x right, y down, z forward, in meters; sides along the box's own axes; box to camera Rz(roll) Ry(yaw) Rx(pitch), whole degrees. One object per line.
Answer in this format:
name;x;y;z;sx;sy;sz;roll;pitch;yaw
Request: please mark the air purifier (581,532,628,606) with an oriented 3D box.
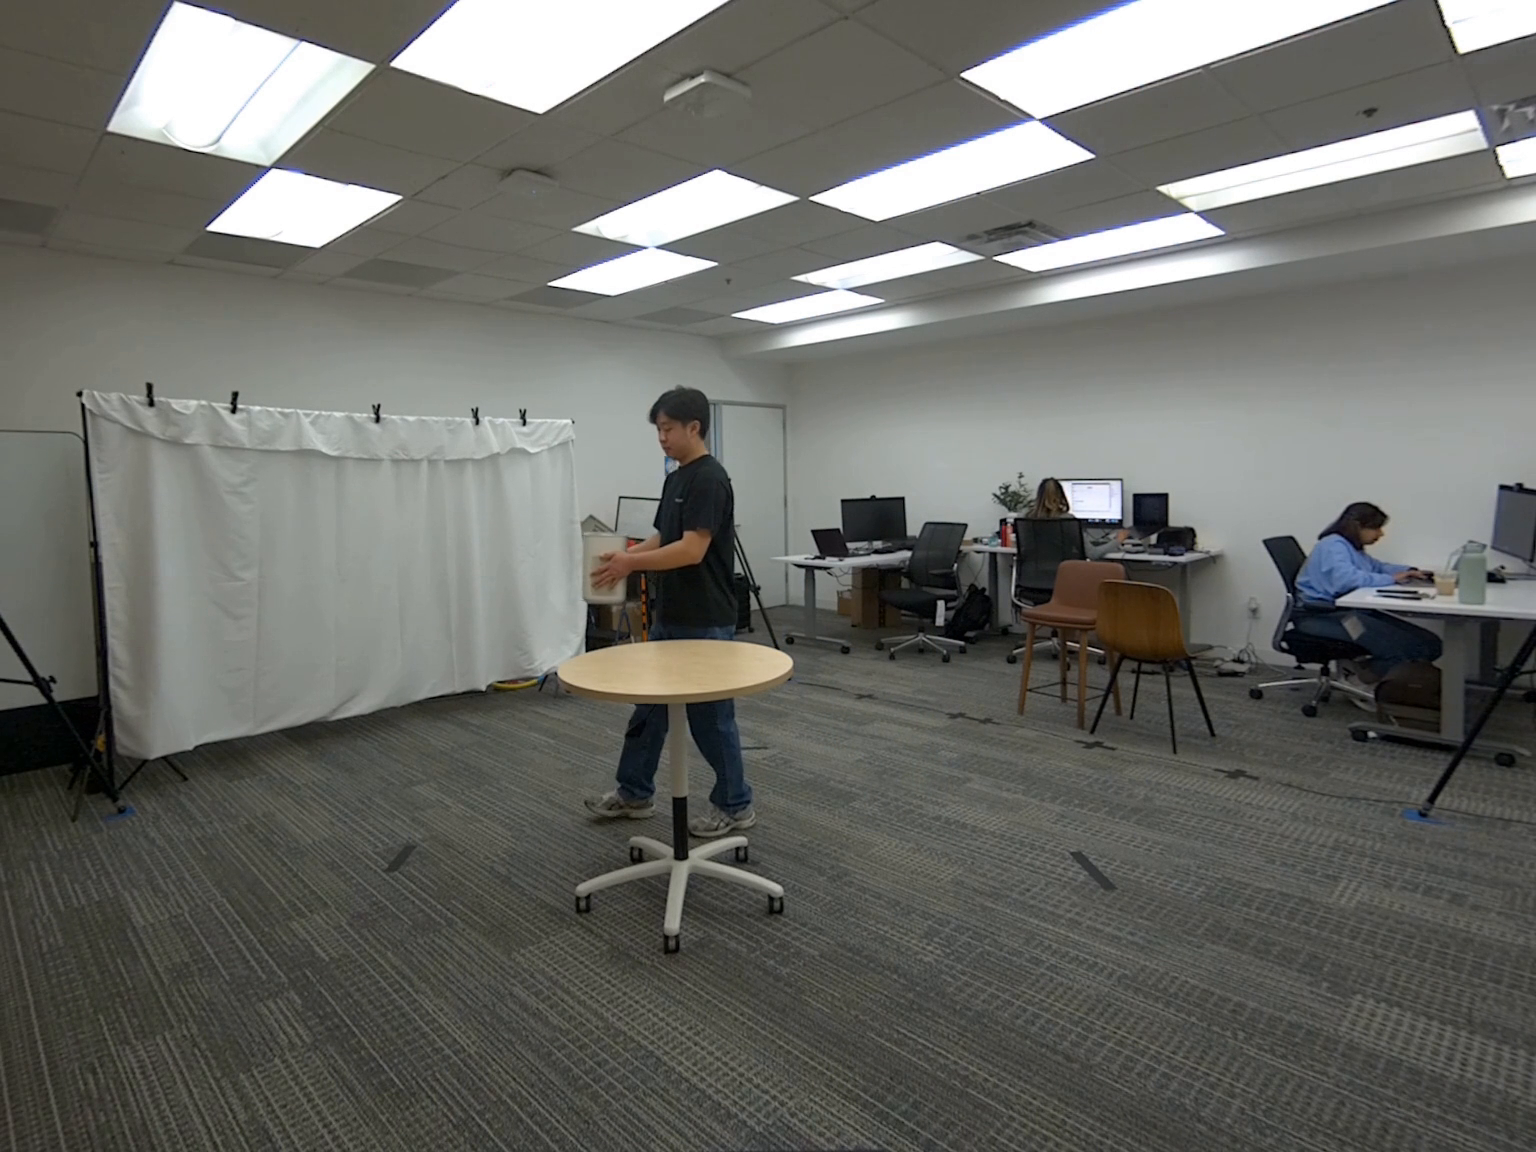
air purifier;-0.635;-0.034;3.322;0.170;0.264;0.173;2;4;-10
